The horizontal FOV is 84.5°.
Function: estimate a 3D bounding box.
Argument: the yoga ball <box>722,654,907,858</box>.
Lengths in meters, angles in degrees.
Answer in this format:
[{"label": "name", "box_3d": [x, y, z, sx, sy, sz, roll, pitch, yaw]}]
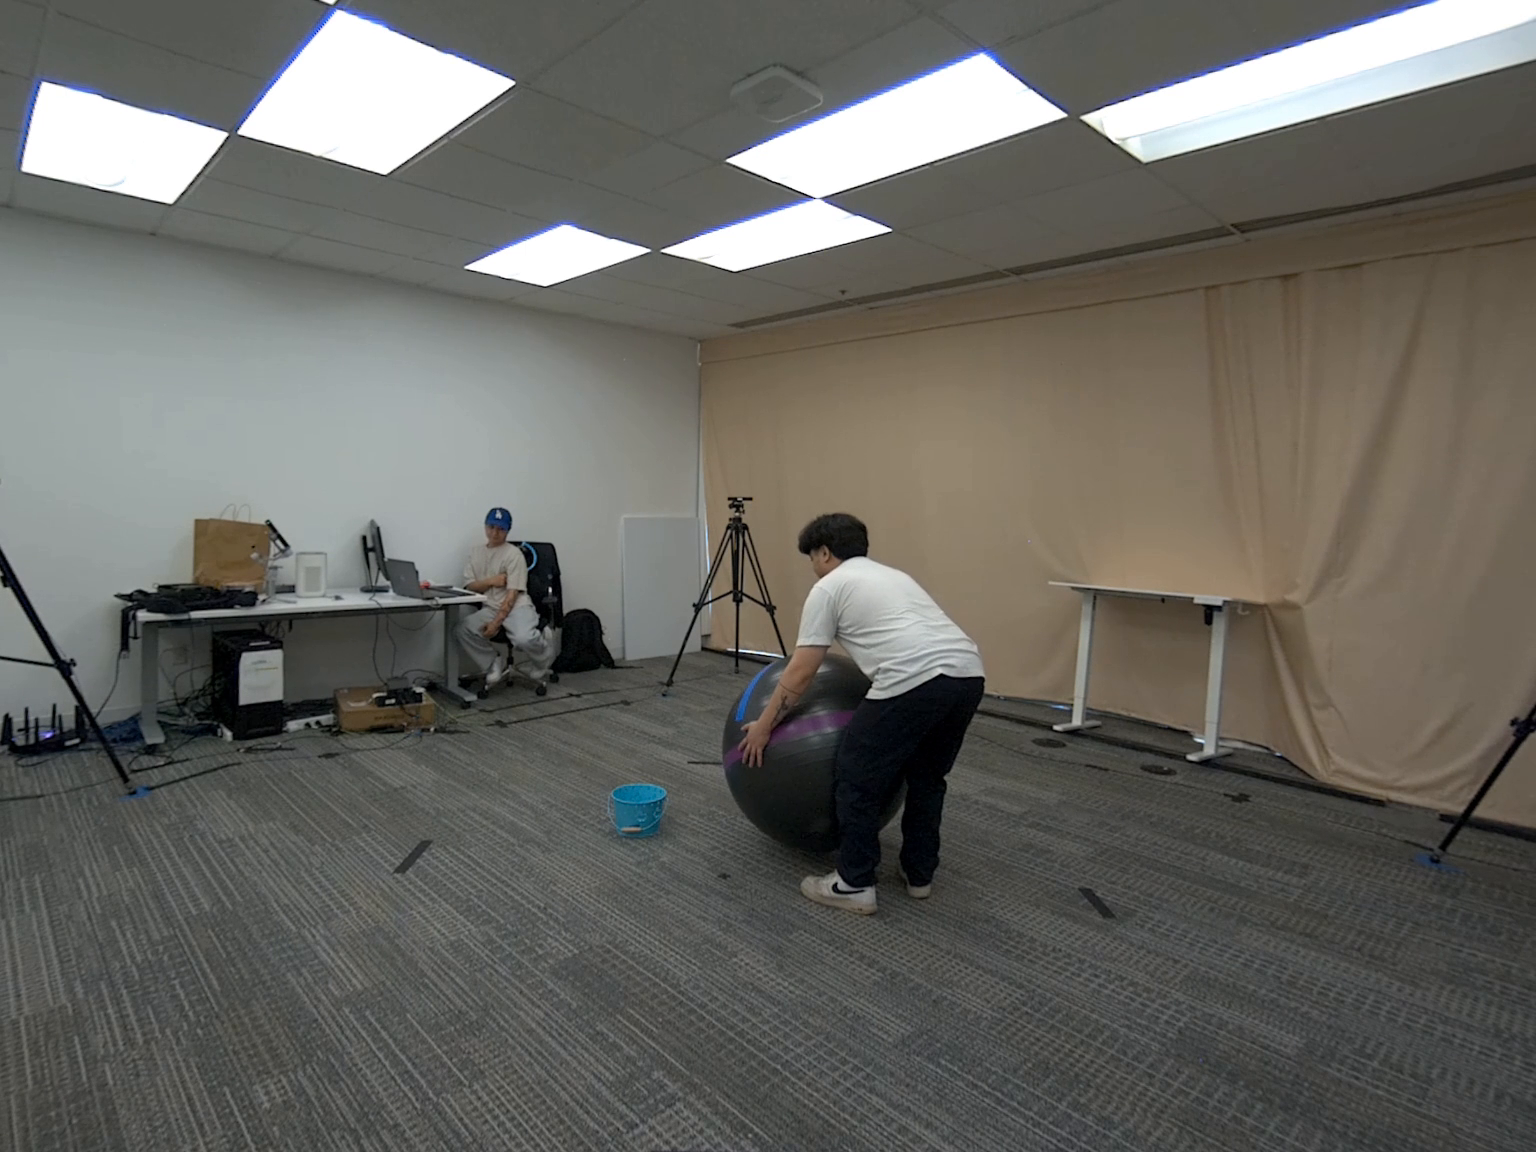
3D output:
[{"label": "yoga ball", "box_3d": [0.190, 0.676, 3.324, 0.757, 0.756, 0.761, 1, 4, -1]}]
